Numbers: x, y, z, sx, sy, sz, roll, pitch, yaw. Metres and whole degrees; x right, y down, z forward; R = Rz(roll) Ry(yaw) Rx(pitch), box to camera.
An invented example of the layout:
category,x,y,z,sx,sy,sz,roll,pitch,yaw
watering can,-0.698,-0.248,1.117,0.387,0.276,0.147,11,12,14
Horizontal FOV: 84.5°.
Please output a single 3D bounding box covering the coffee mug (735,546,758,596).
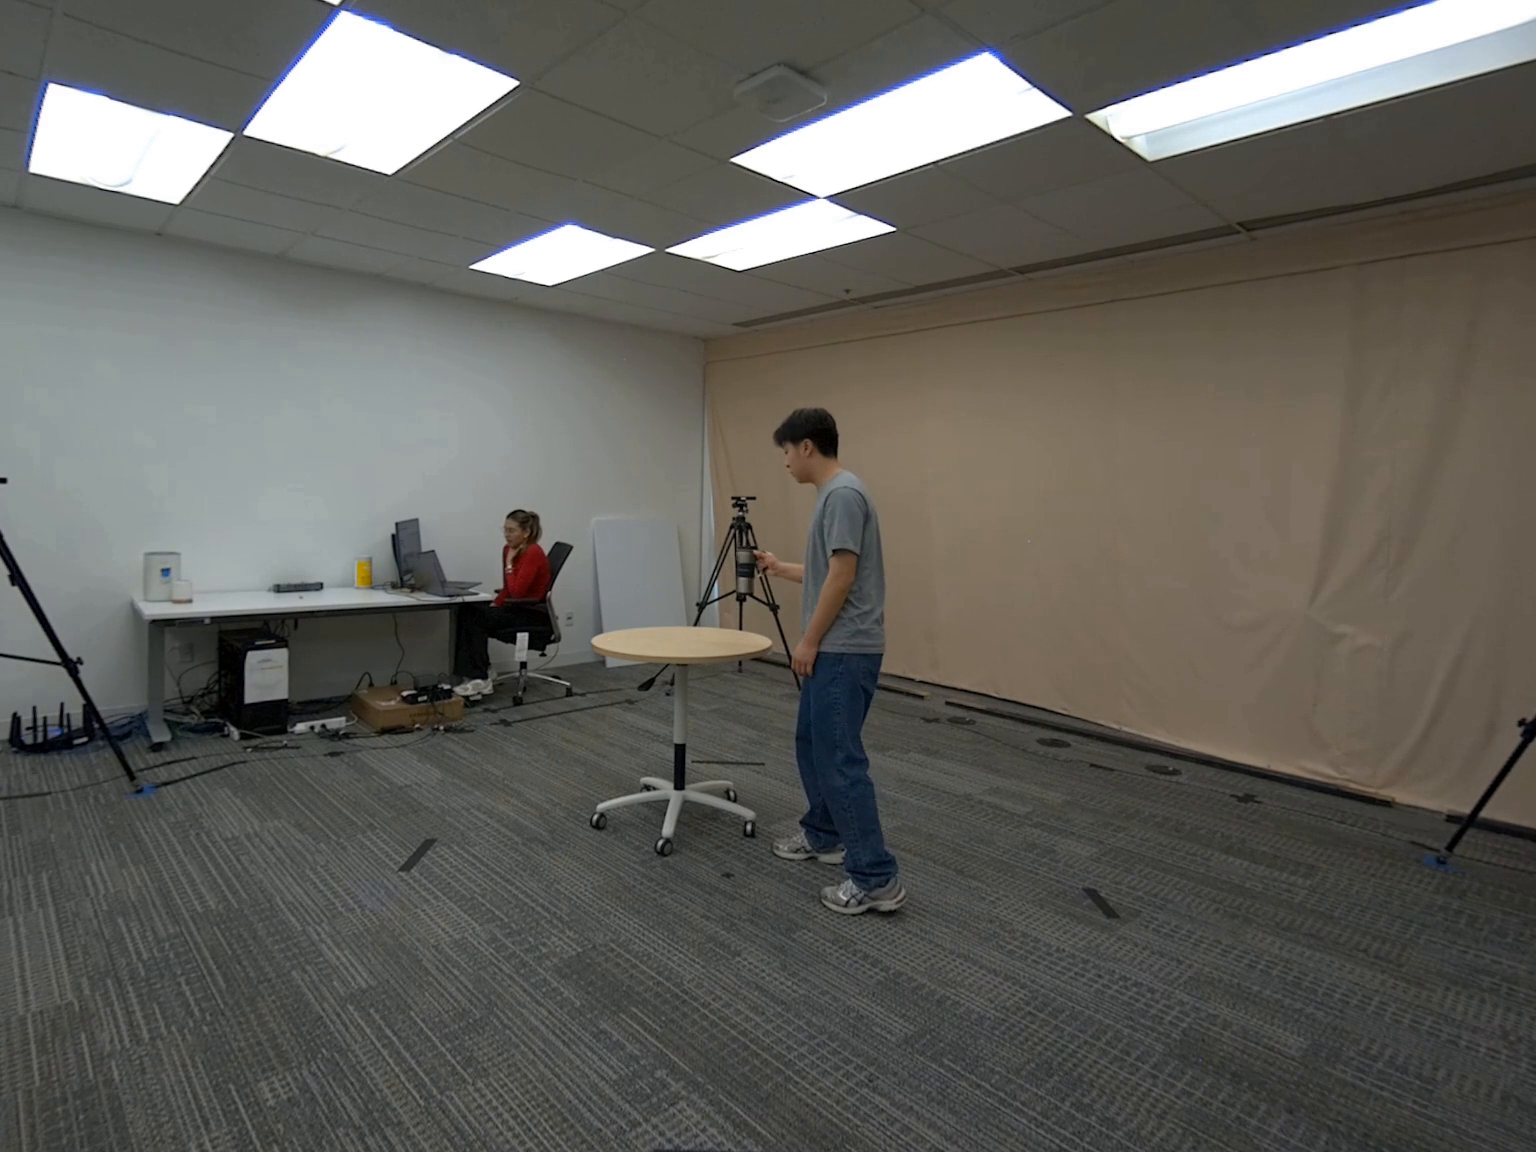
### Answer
category,x,y,z,sx,sy,sz,roll,pitch,yaw
coffee mug,-0.070,-0.019,3.452,0.086,0.203,0.125,2,1,-43
